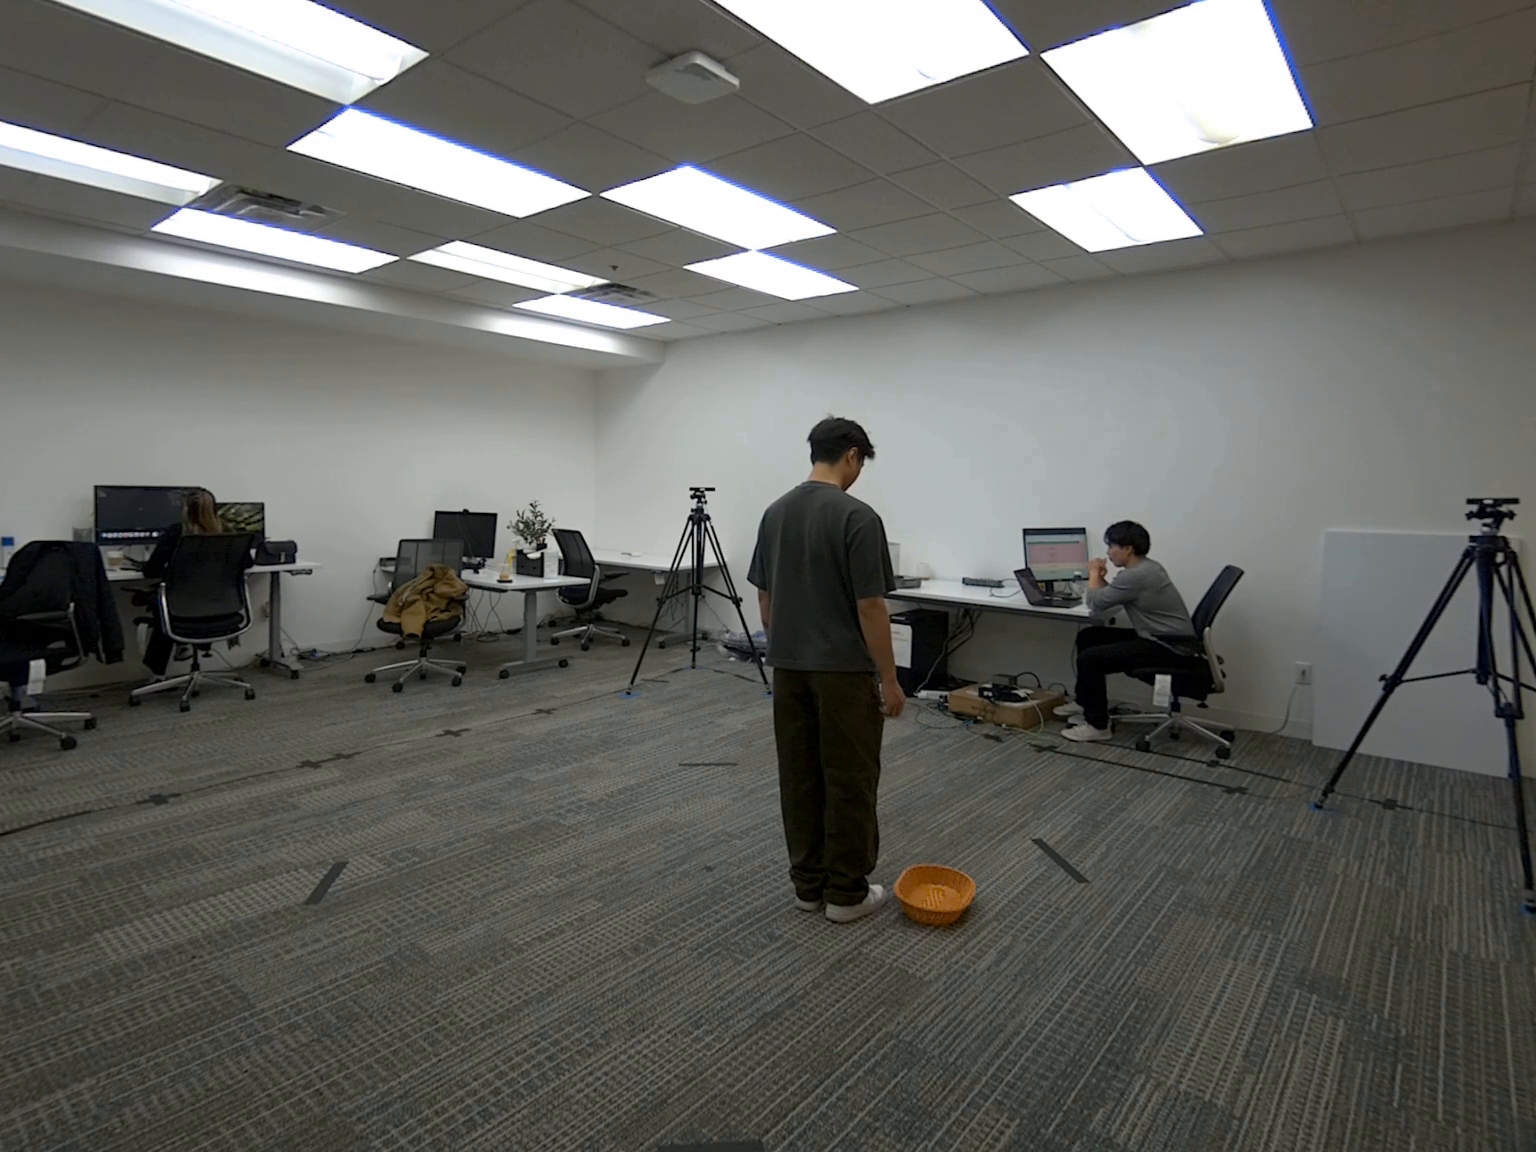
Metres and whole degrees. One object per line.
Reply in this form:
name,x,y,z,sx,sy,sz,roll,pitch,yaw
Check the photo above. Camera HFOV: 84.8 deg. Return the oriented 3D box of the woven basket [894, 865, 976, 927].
woven basket,0.554,1.076,2.864,0.260,0.073,0.342,5,7,28
